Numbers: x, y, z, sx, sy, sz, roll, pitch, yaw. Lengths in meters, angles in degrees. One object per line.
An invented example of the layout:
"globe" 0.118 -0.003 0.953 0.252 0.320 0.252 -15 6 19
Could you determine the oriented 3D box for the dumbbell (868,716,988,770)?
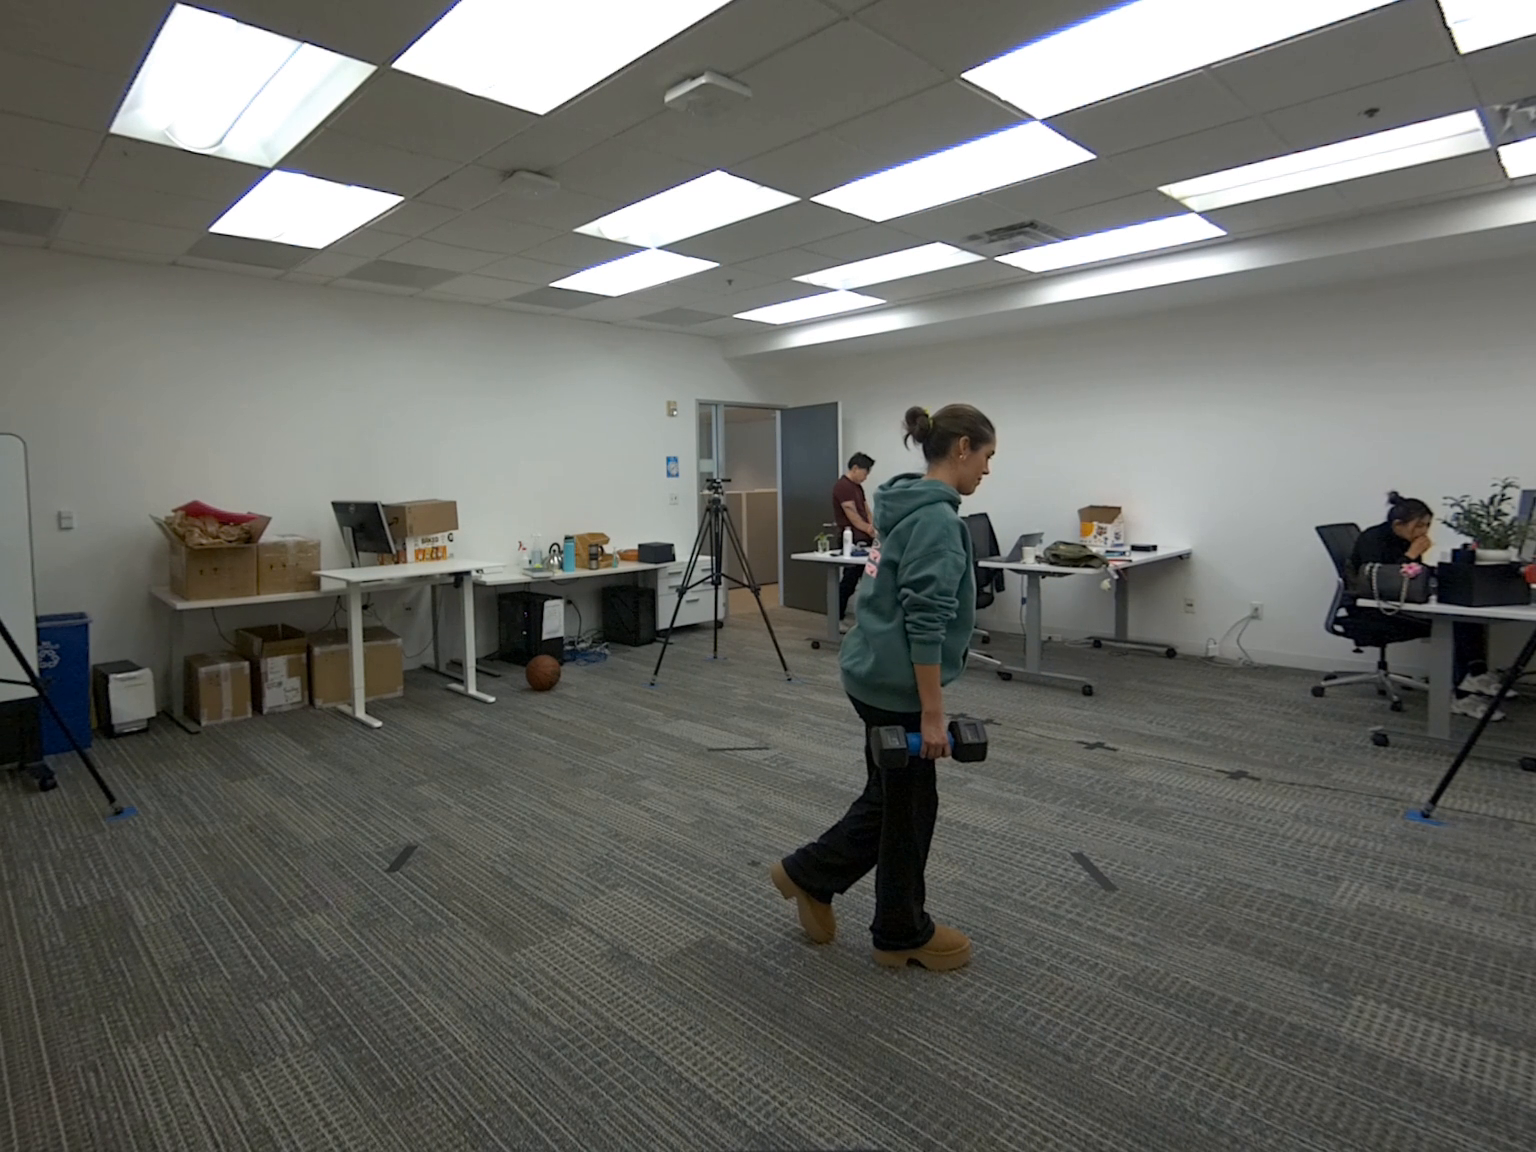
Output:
"dumbbell" 0.438 0.448 2.274 0.292 0.120 0.111 -4 23 -6
